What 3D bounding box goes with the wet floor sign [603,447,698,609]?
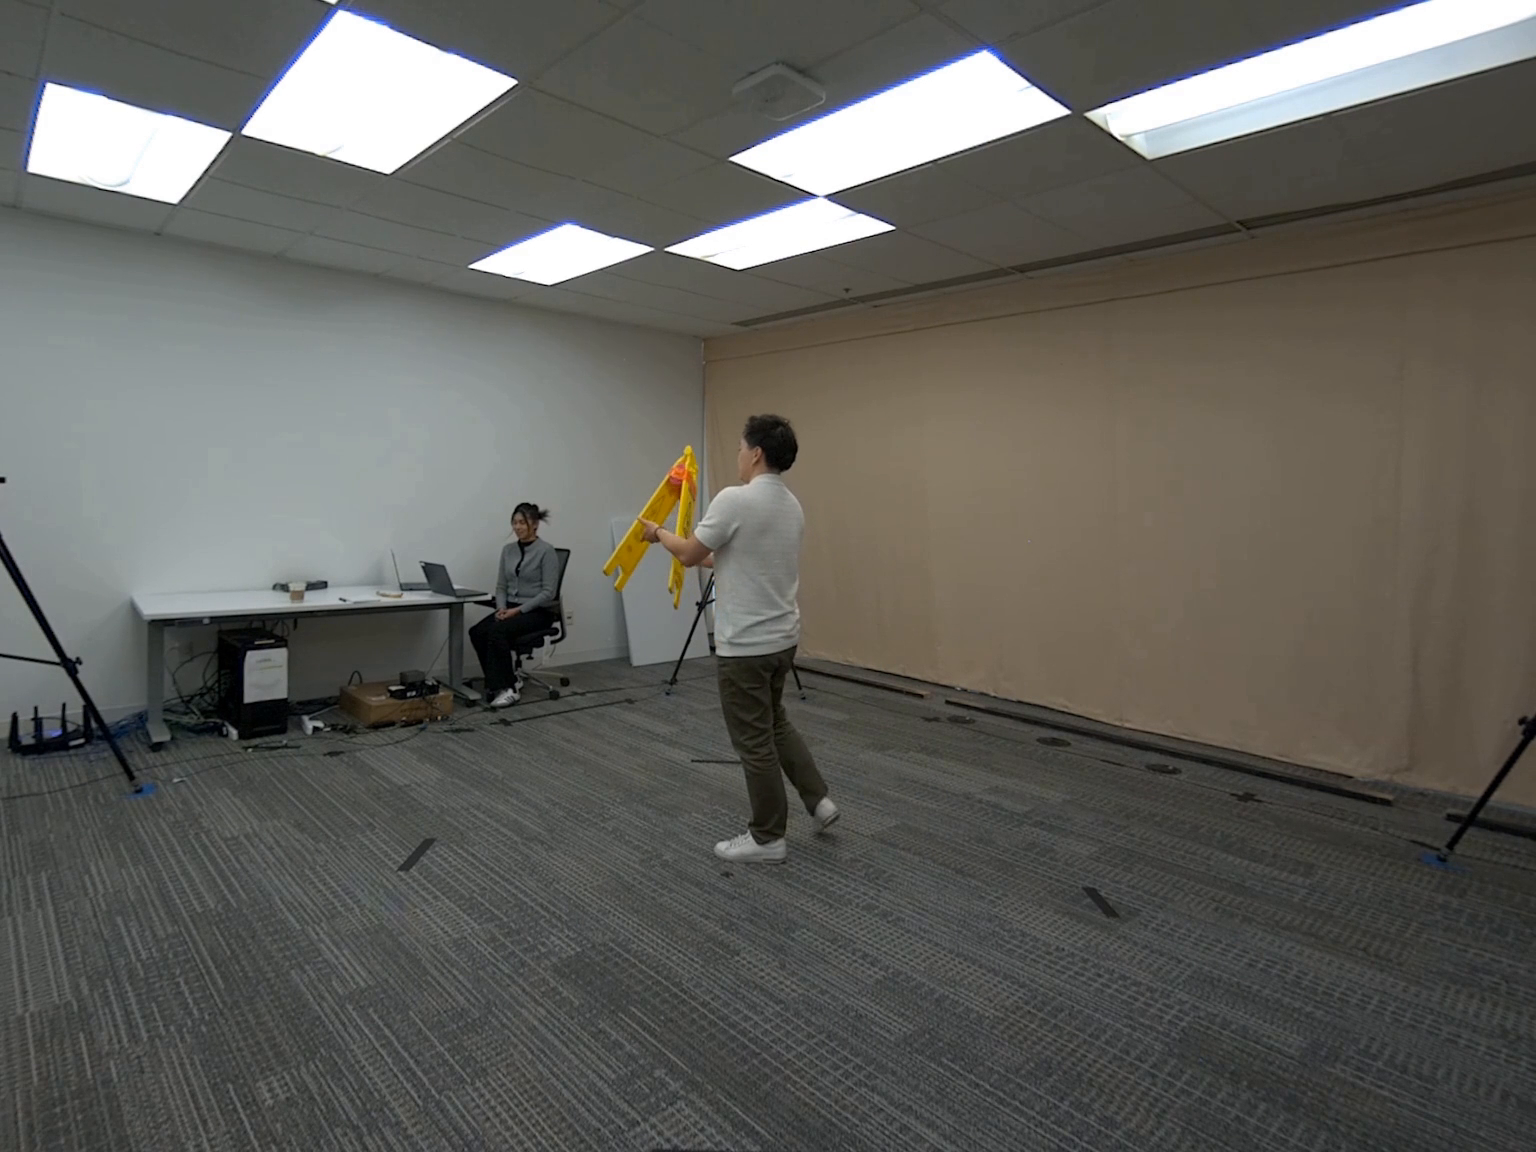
[{"bbox_3d":[-0.428,-0.230,3.548,0.293,0.652,0.277,14,-20,10],"label":"wet floor sign"}]
